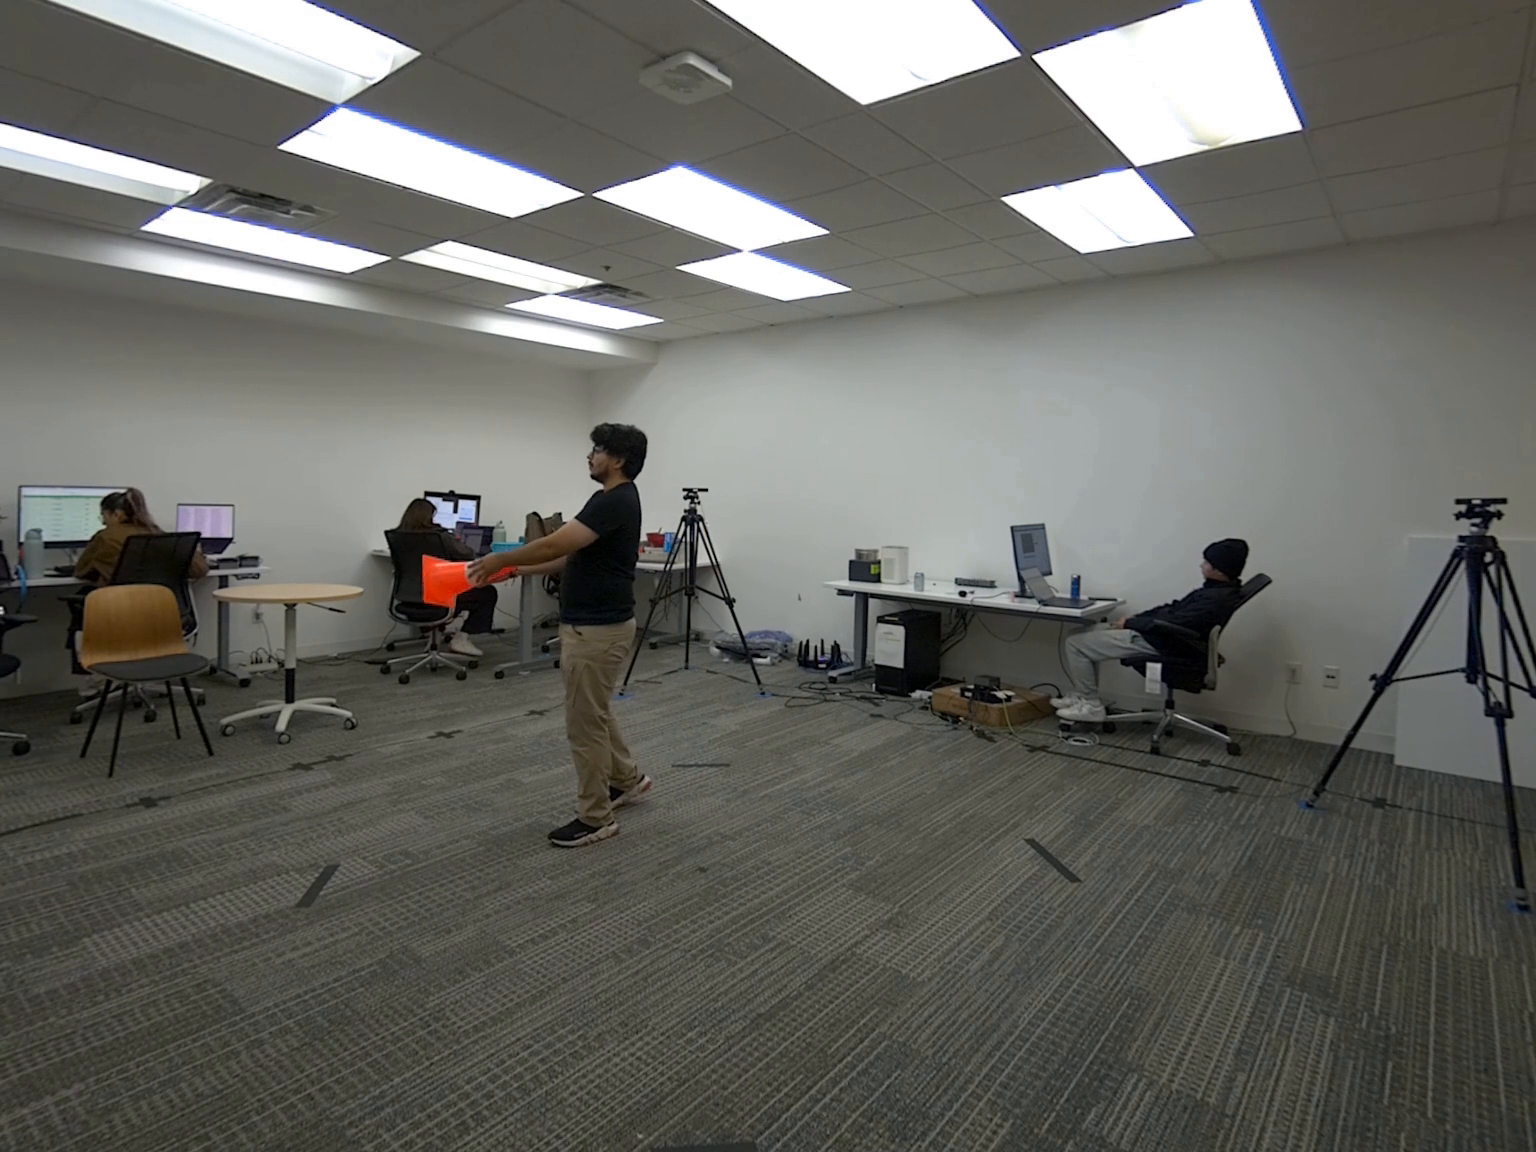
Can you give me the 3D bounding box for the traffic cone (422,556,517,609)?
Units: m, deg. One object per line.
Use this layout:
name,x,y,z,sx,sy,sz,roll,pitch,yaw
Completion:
traffic cone,-1.188,-0.013,3.462,0.389,0.207,0.199,-8,-7,15
